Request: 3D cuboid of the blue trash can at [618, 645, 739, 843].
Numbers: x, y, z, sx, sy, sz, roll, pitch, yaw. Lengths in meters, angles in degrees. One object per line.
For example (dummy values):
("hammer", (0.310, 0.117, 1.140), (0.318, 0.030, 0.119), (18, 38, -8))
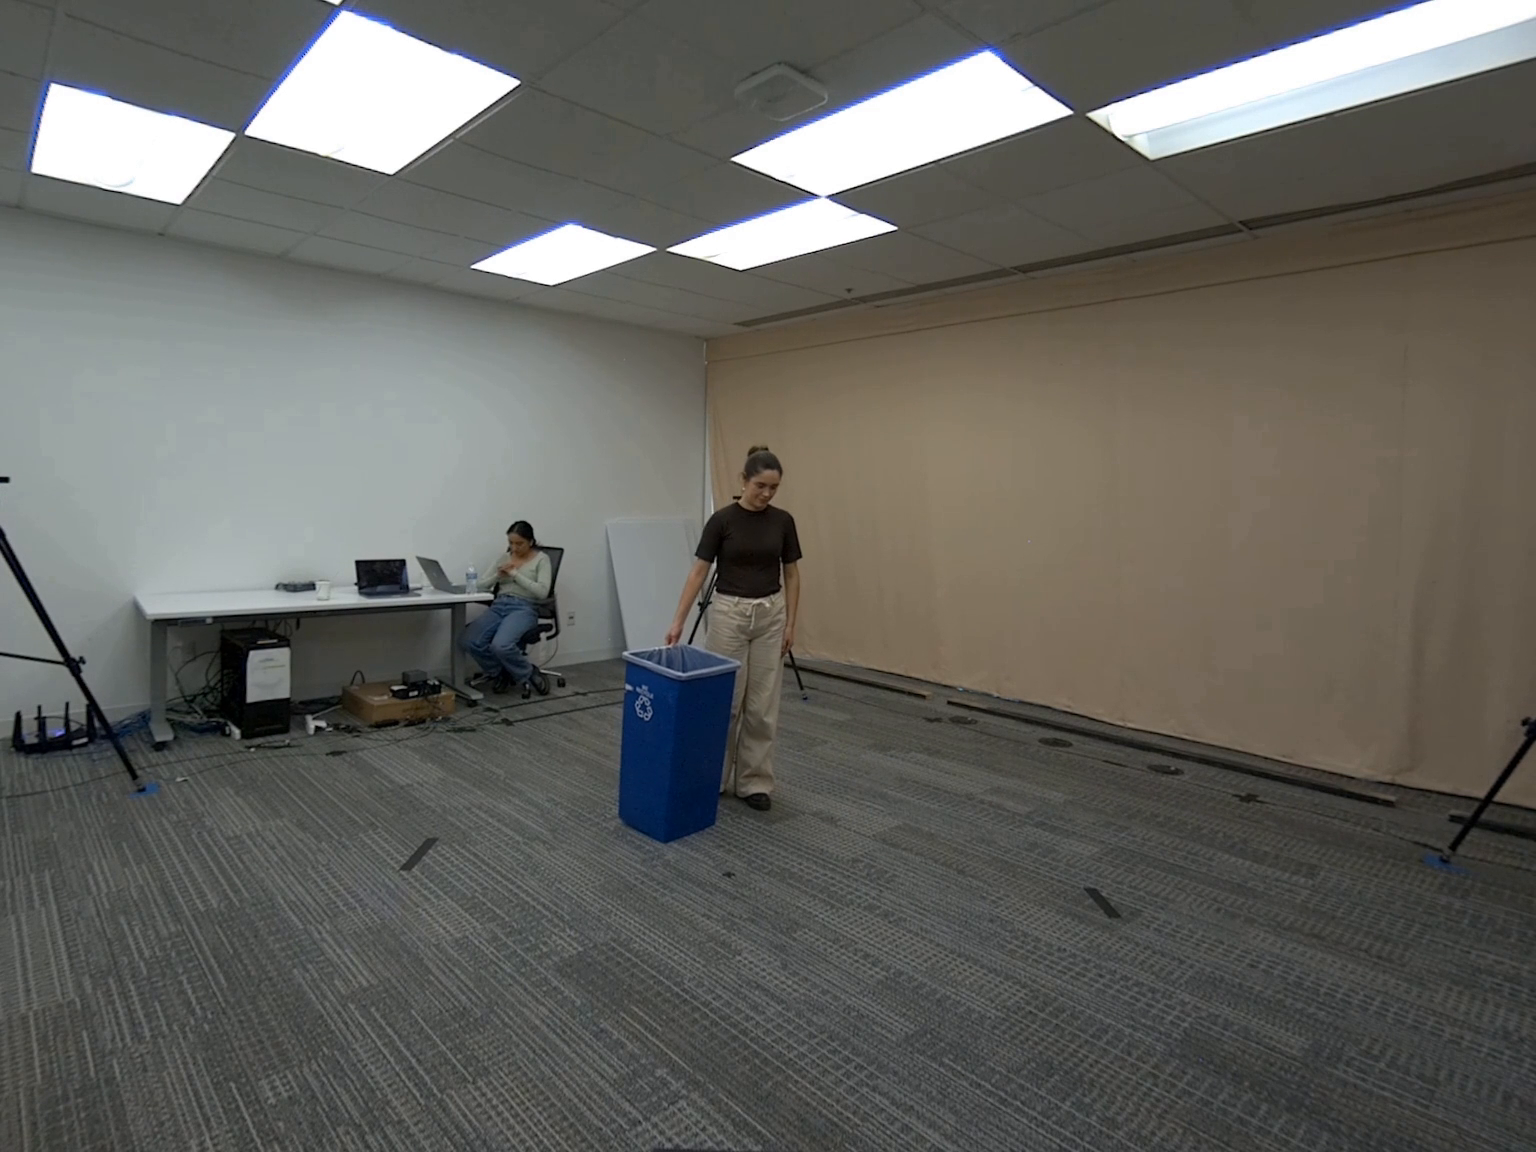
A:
("blue trash can", (-0.394, 0.690, 3.530), (0.384, 0.710, 0.369), (11, 9, 40))
